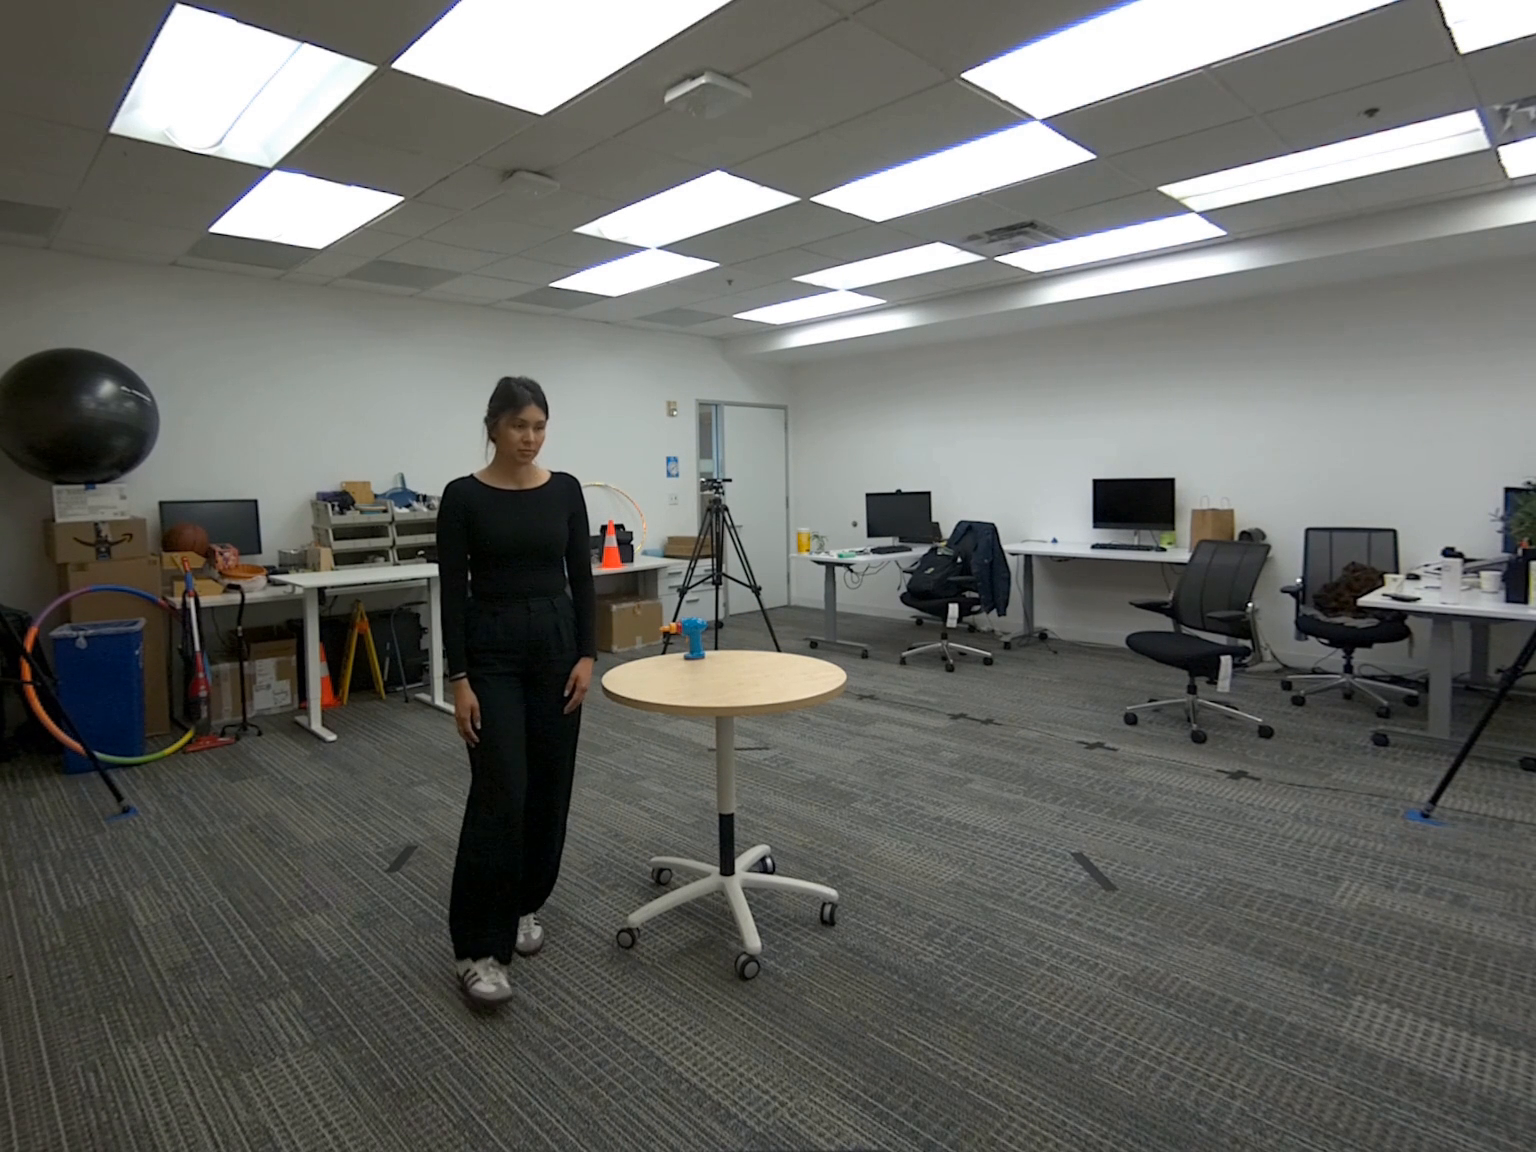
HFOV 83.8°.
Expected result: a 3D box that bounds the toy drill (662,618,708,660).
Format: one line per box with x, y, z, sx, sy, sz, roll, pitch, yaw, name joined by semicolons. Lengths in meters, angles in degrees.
-0.287;0.213;2.923;0.166;0.146;0.062;-1;3;-22;toy drill
